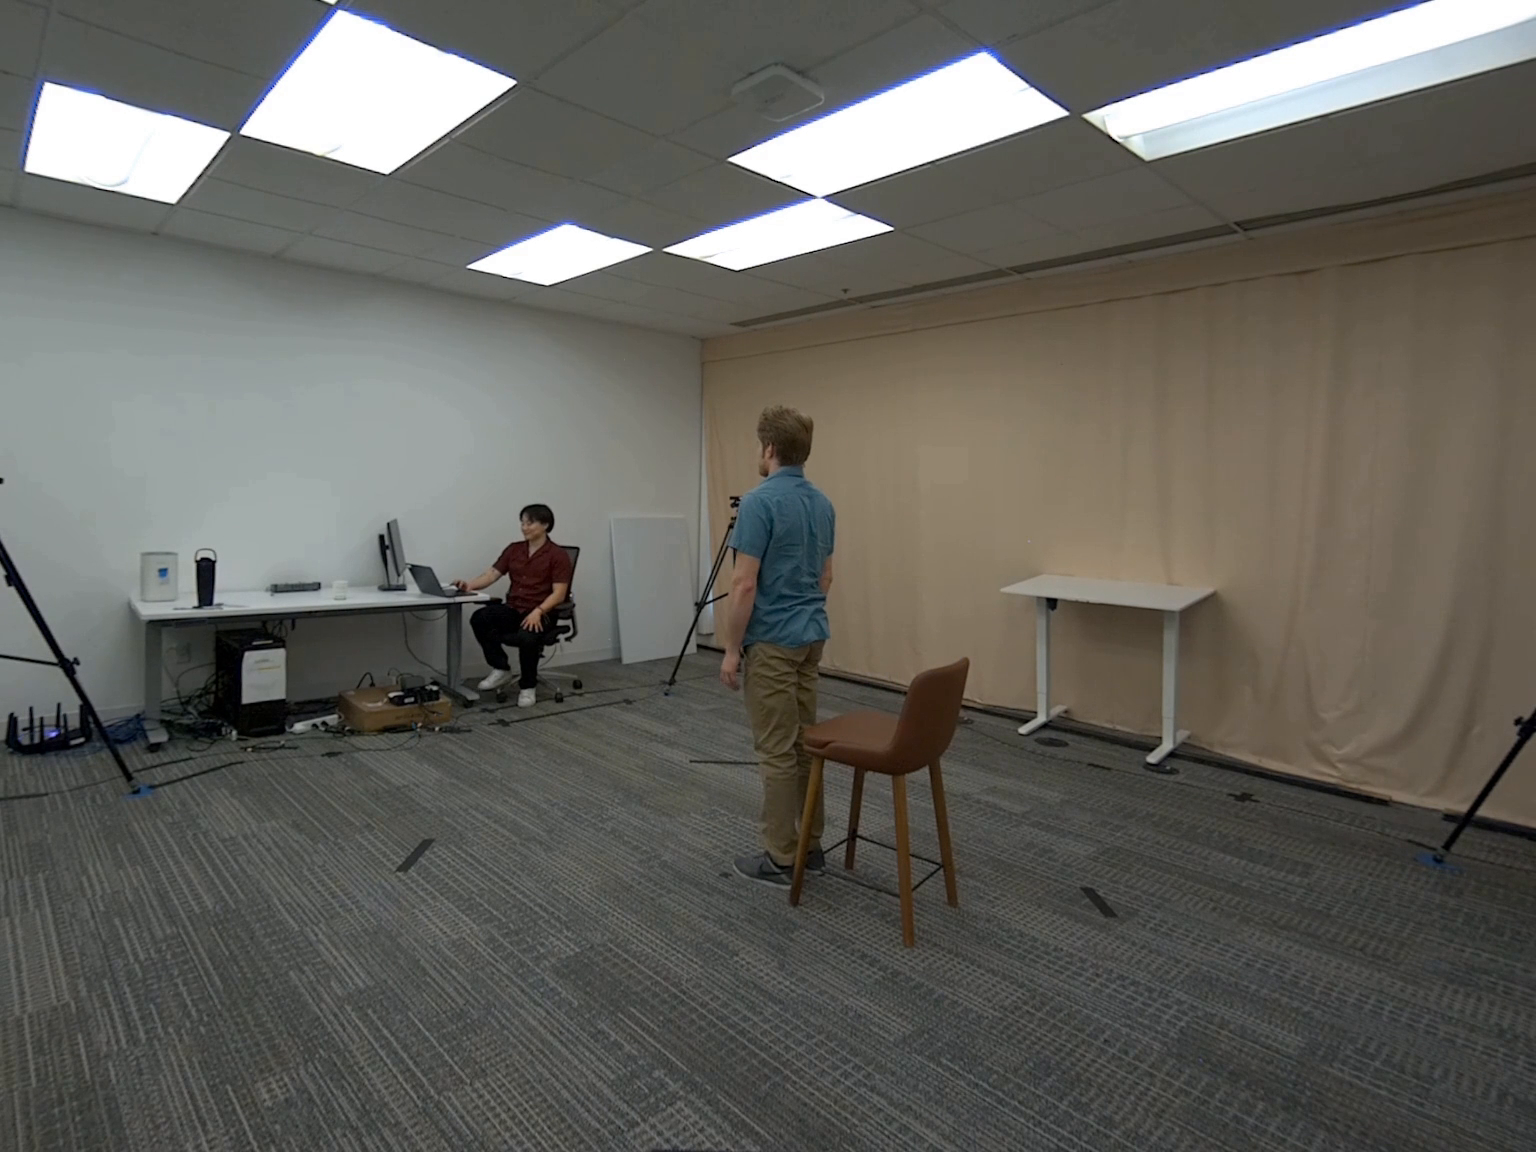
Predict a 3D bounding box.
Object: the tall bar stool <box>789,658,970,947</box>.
[{"bbox_3d":[0.379,0.702,2.874,0.479,0.886,0.447,7,7,36],"label":"tall bar stool"}]
